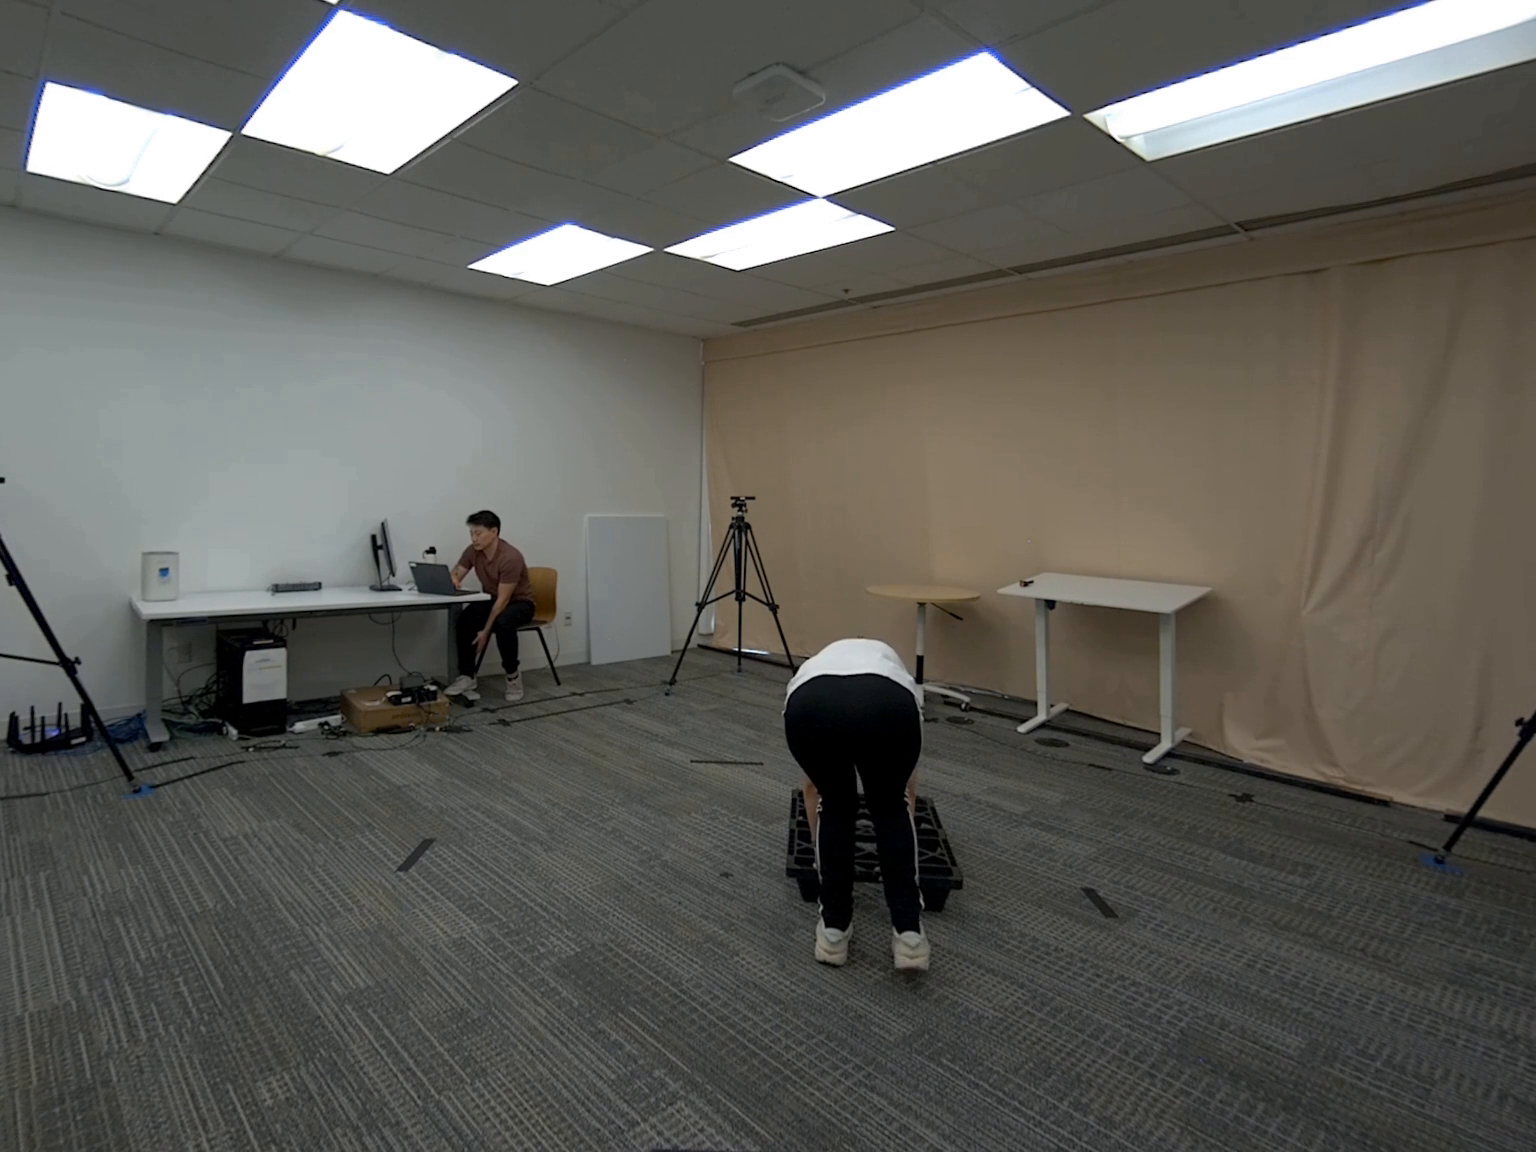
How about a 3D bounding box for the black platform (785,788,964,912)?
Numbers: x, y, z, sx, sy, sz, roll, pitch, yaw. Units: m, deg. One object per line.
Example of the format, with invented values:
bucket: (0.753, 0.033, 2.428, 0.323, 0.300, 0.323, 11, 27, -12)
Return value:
black platform: (0.376, 1.035, 3.246, 0.607, 0.143, 0.805, 2, 5, 4)
